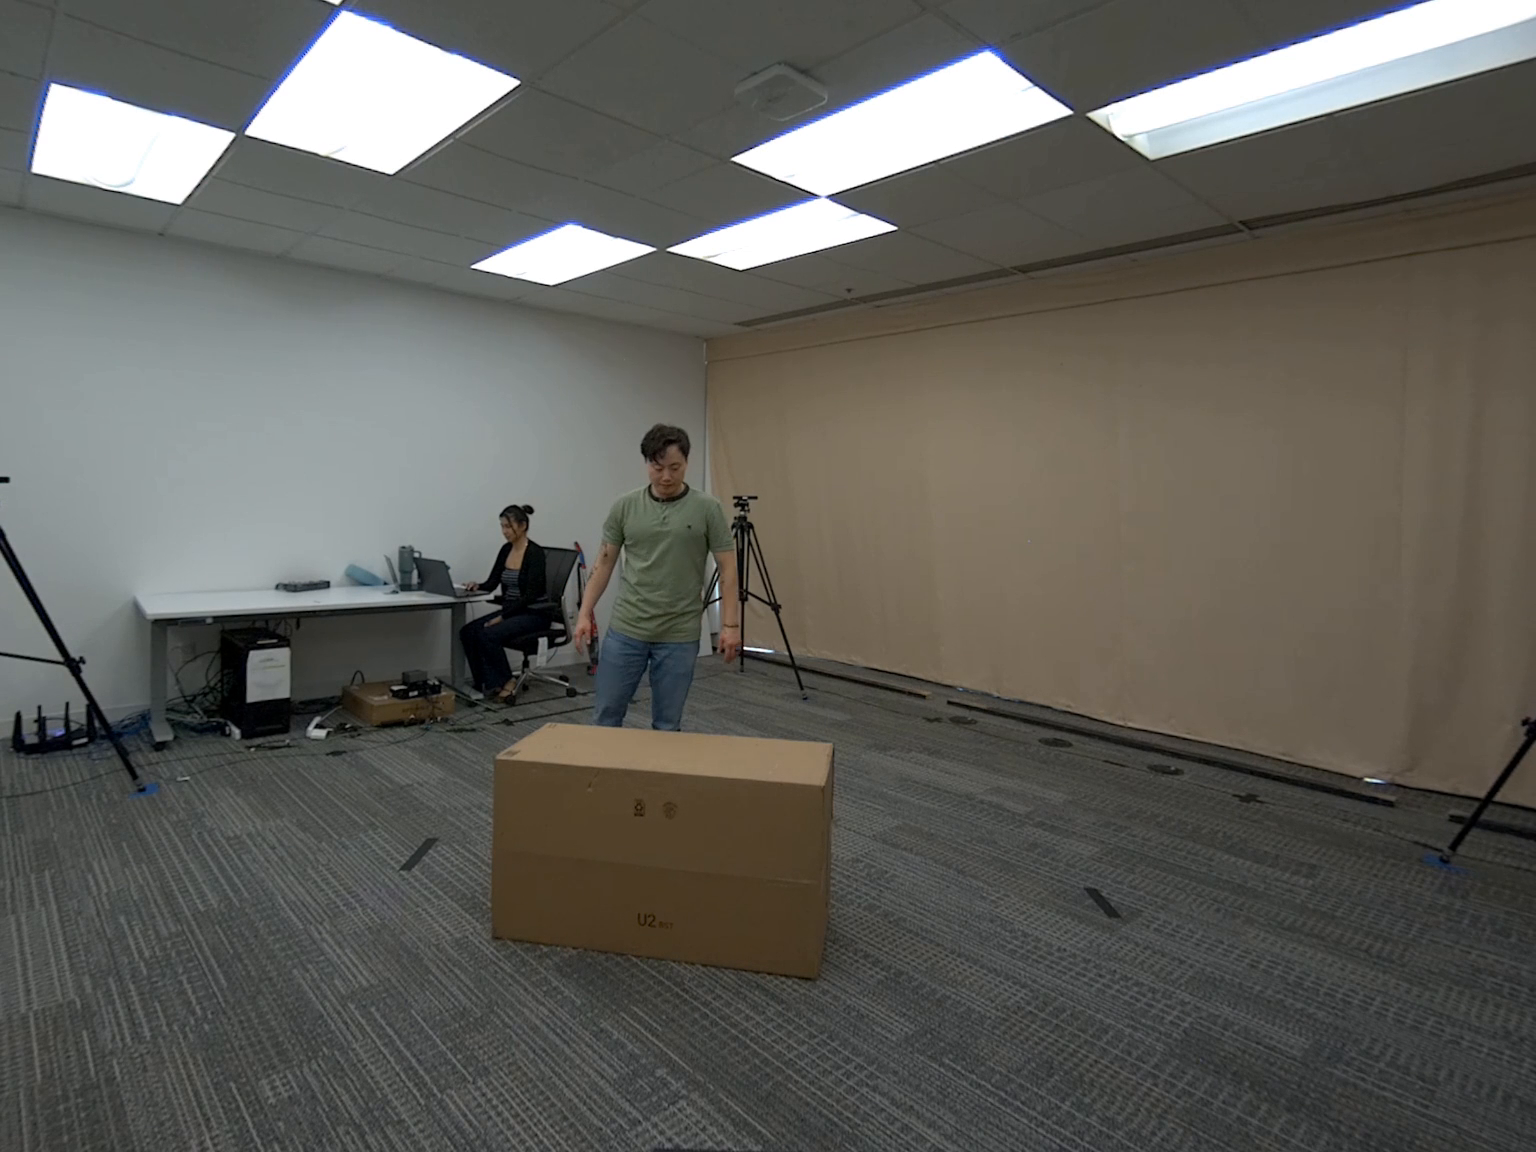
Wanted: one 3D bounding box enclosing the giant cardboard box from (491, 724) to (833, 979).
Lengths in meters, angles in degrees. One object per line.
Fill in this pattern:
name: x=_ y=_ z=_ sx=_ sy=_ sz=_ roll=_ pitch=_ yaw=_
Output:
giant cardboard box: x=-0.324 y=0.845 z=2.717 sx=1.035 sy=0.576 sz=0.423 roll=2 pitch=3 yaw=11
